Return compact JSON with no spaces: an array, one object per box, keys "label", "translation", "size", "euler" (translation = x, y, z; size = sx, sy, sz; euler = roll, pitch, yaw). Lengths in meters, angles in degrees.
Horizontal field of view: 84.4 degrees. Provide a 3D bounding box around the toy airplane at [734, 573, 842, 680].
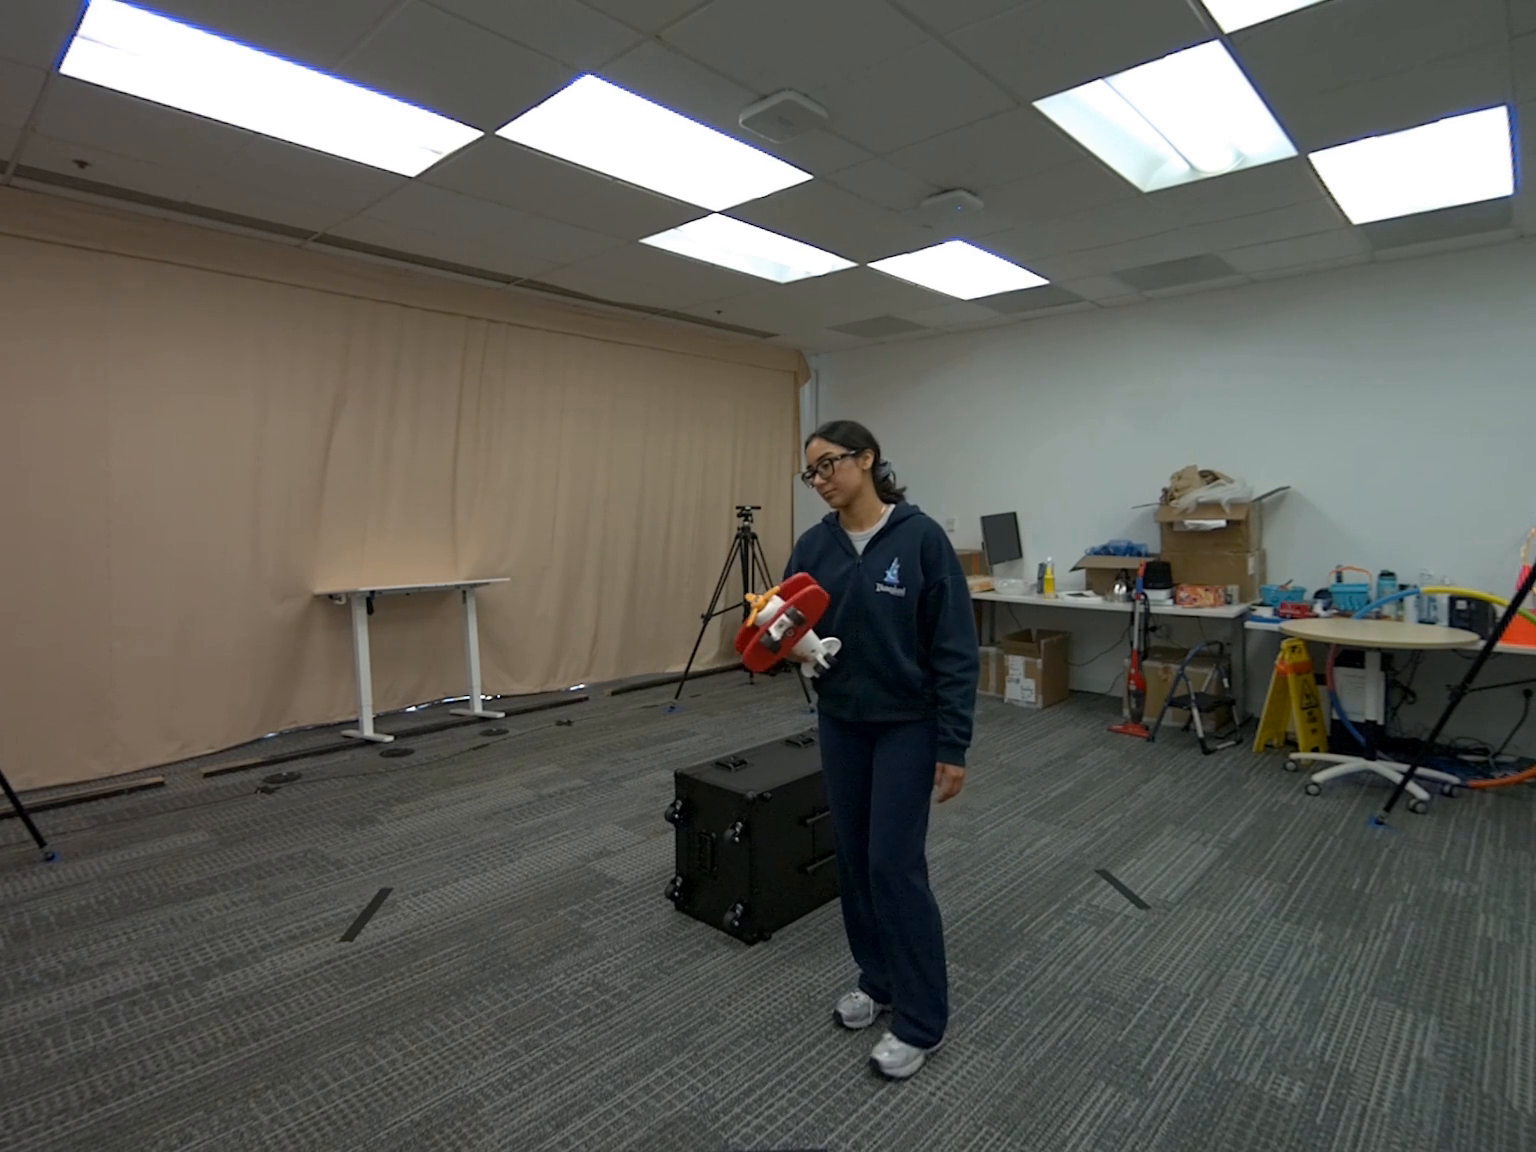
[{"label":"toy airplane","translation":[0.053,0.150,2.037],"size":[0.249,0.253,0.162],"euler":[-24,40,-12]}]
